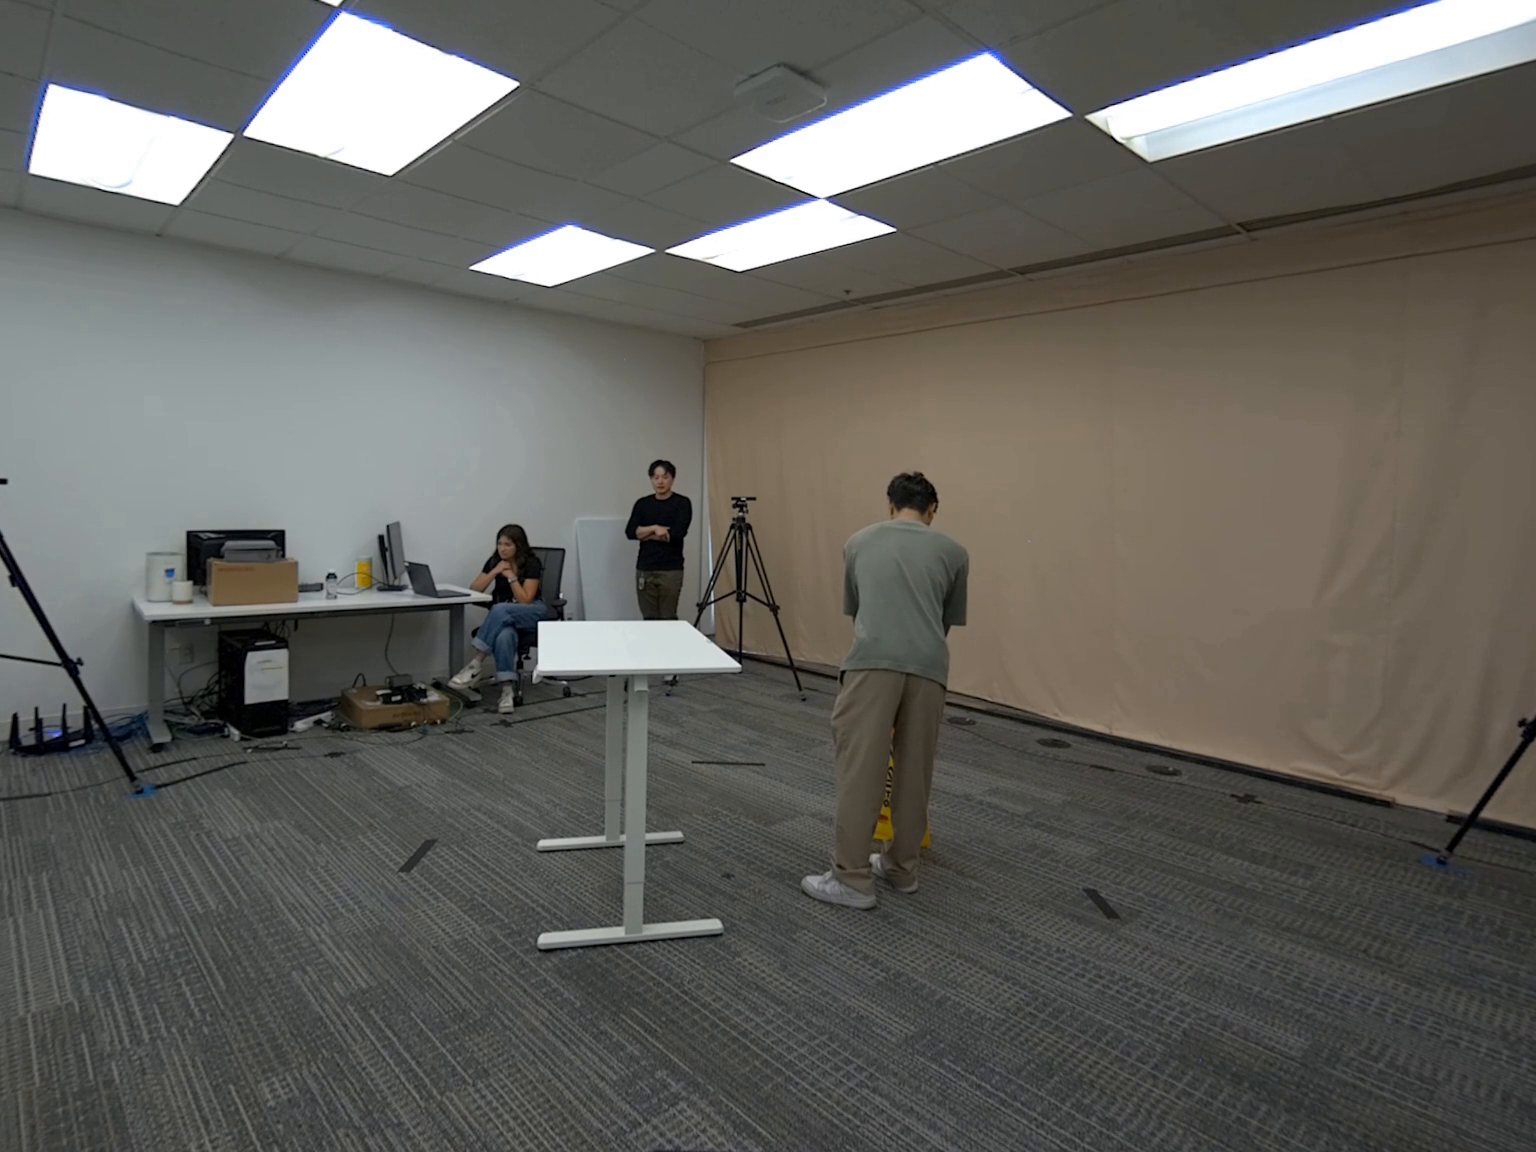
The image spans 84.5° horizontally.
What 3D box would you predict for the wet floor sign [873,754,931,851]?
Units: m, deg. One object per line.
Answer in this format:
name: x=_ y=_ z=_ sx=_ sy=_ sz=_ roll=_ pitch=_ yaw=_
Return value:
wet floor sign: x=0.478 y=0.781 z=3.364 sx=0.288 sy=0.644 sz=0.284 roll=5 pitch=4 yaw=30
